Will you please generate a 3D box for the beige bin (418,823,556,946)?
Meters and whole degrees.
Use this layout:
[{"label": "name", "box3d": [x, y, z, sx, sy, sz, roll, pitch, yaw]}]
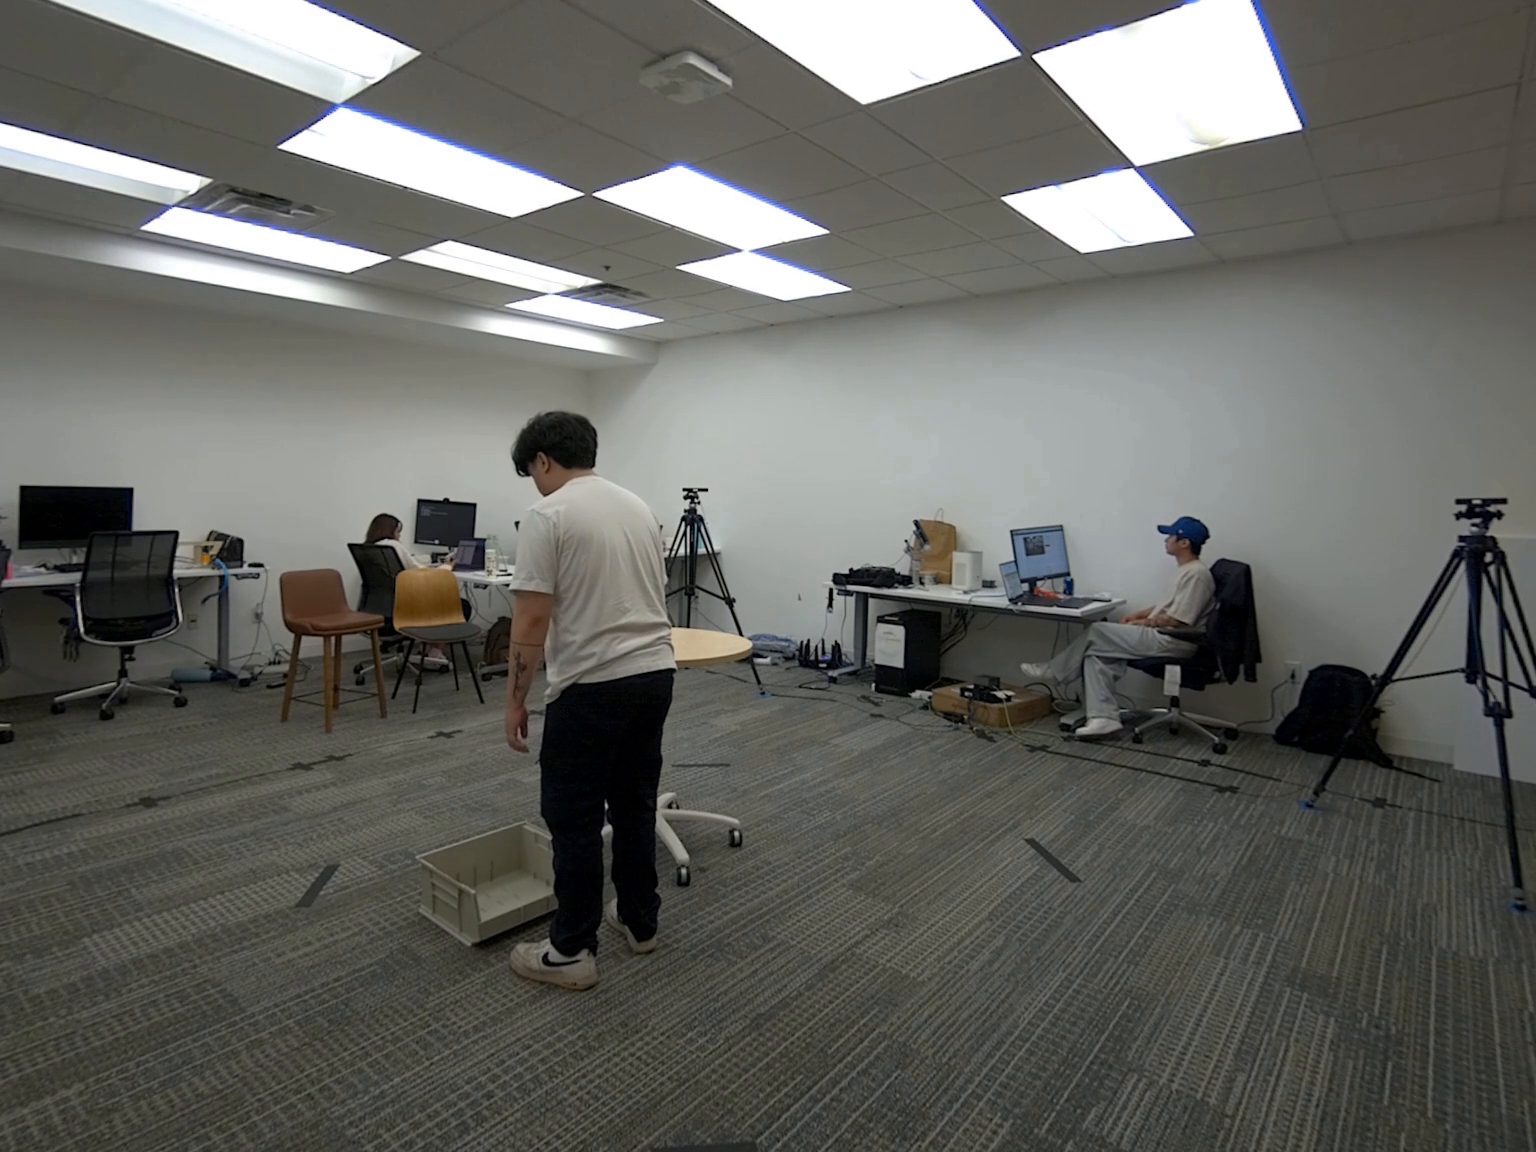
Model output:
[{"label": "beige bin", "box3d": [-0.881, 1.001, 2.792, 0.390, 0.188, 0.410, 4, 7, 41]}]
